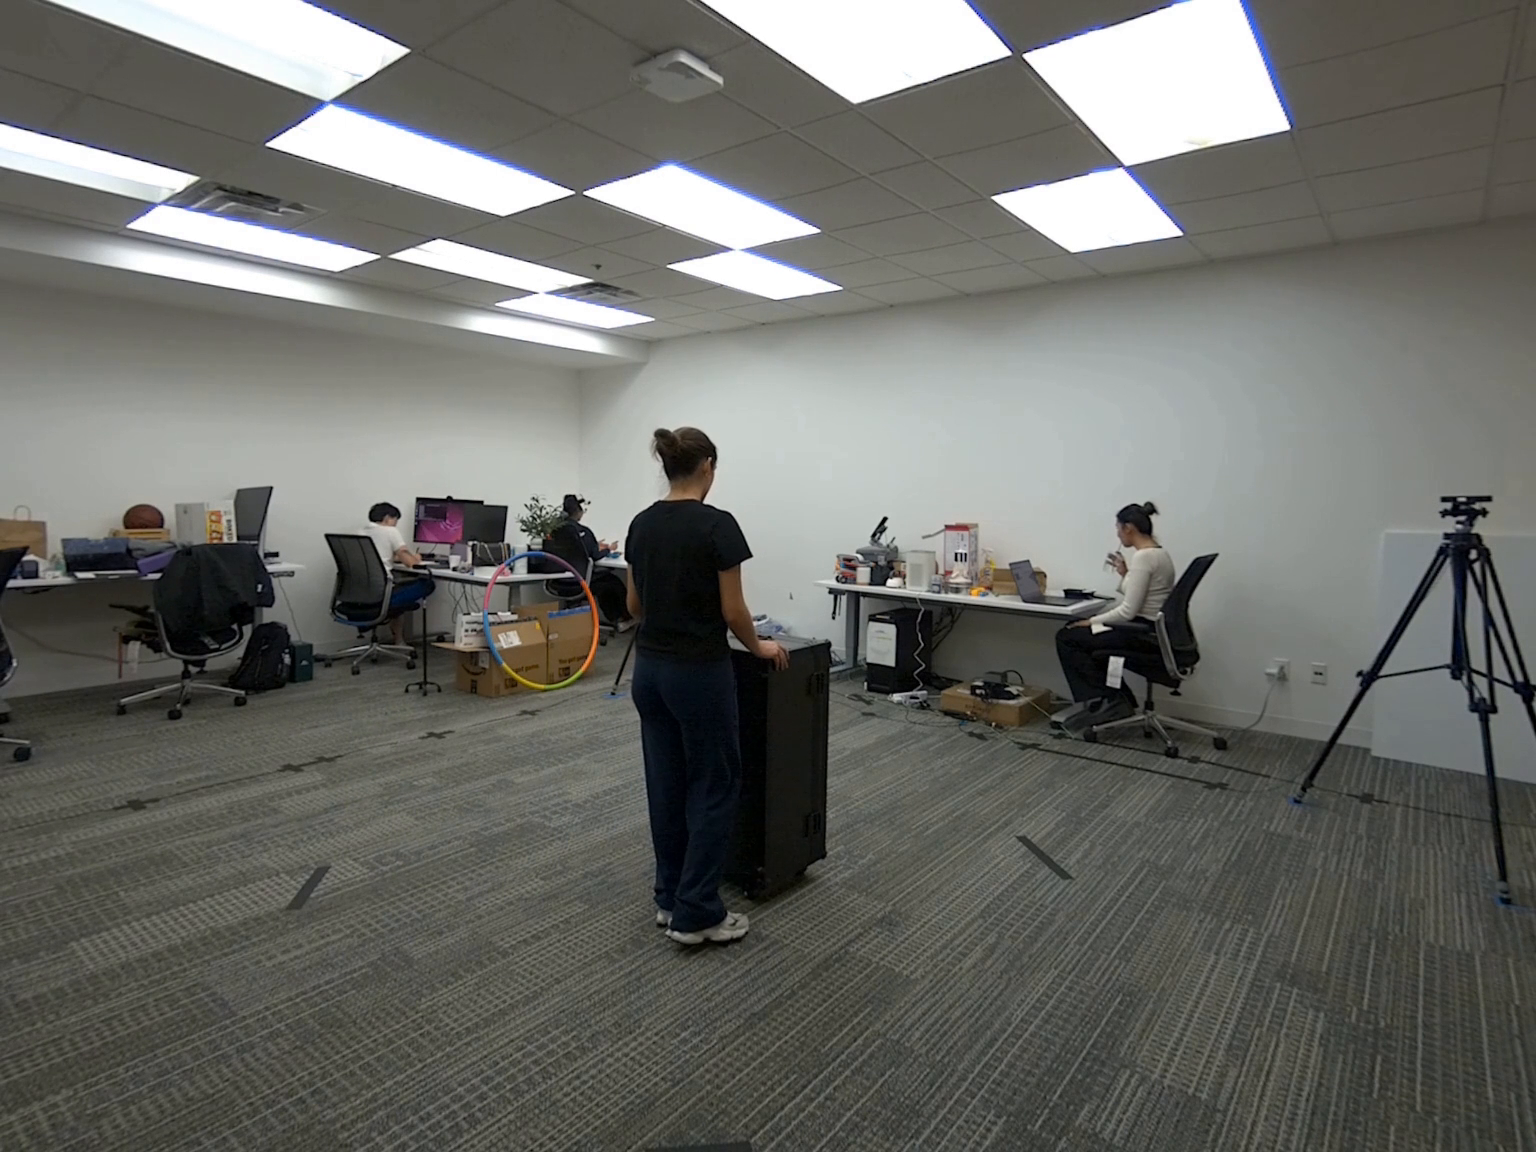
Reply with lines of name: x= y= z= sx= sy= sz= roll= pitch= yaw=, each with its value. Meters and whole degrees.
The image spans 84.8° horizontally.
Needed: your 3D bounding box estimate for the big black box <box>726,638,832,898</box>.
big black box: x=-0.064 y=0.649 z=3.074 sx=0.539 sy=0.859 sz=0.384 roll=4 pitch=5 yaw=41
